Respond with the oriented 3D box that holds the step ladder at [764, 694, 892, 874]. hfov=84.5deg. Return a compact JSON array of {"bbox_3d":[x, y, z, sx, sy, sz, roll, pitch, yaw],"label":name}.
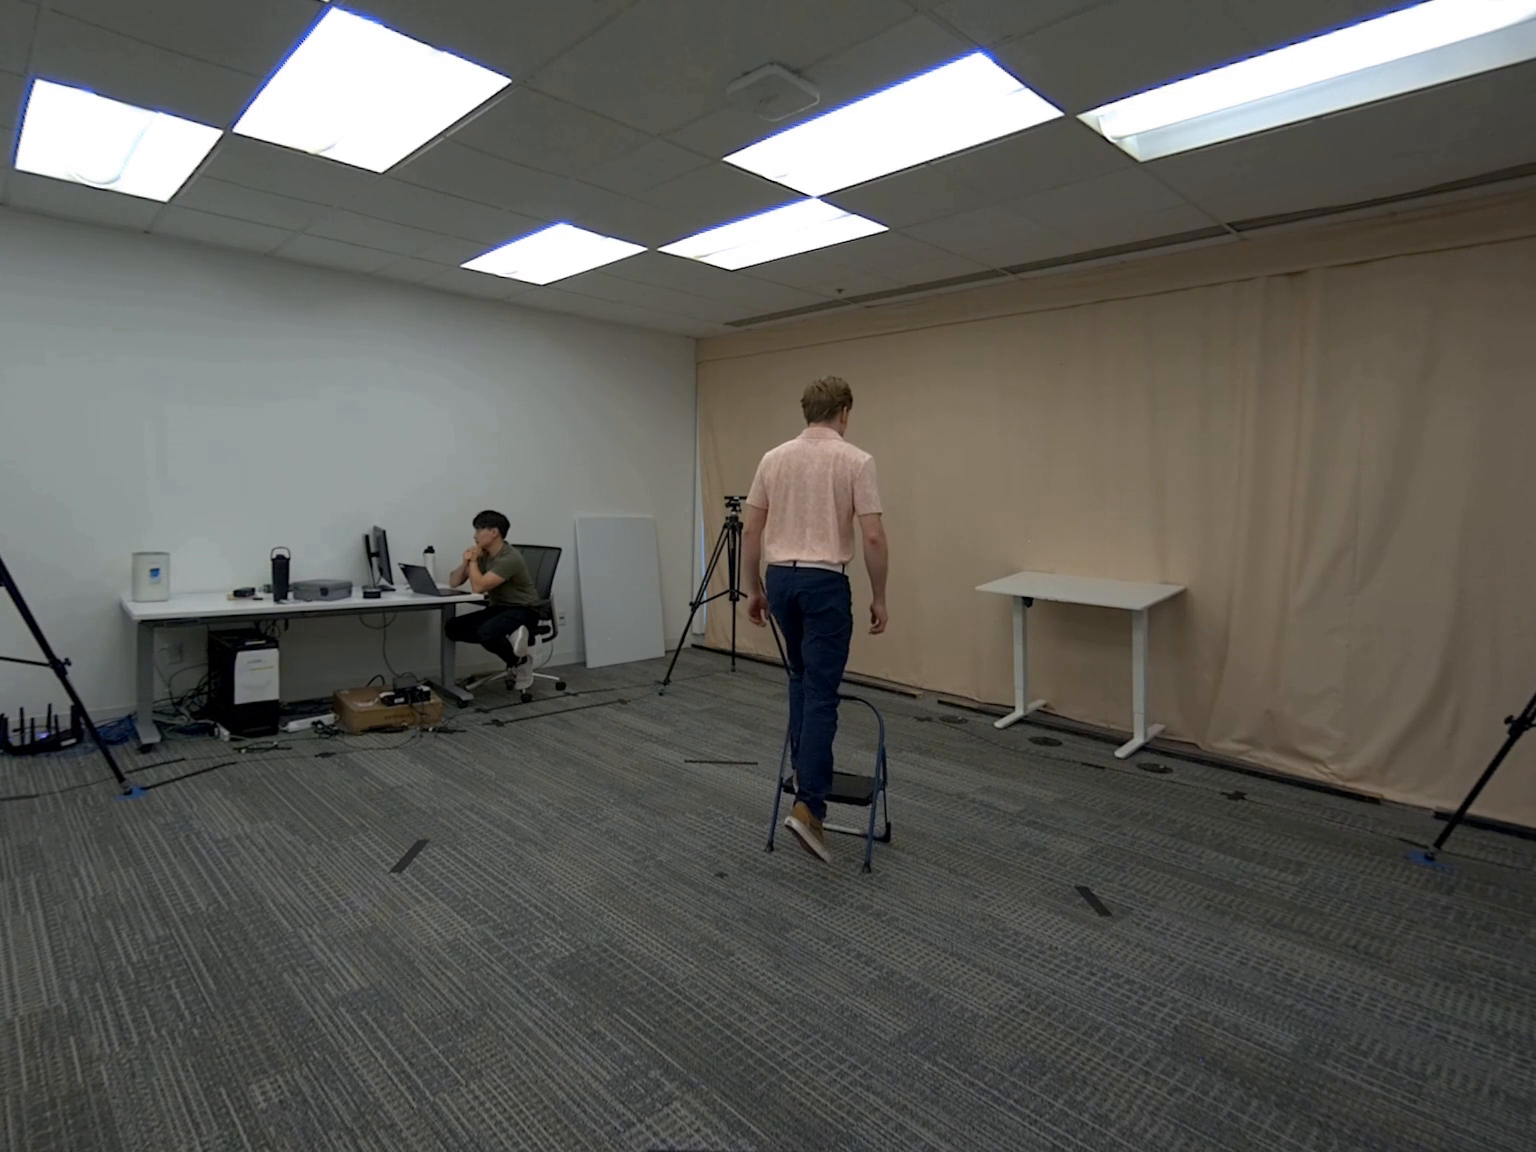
[{"bbox_3d":[0.255,0.786,3.378,0.439,0.605,0.343,4,3,24],"label":"step ladder"}]
